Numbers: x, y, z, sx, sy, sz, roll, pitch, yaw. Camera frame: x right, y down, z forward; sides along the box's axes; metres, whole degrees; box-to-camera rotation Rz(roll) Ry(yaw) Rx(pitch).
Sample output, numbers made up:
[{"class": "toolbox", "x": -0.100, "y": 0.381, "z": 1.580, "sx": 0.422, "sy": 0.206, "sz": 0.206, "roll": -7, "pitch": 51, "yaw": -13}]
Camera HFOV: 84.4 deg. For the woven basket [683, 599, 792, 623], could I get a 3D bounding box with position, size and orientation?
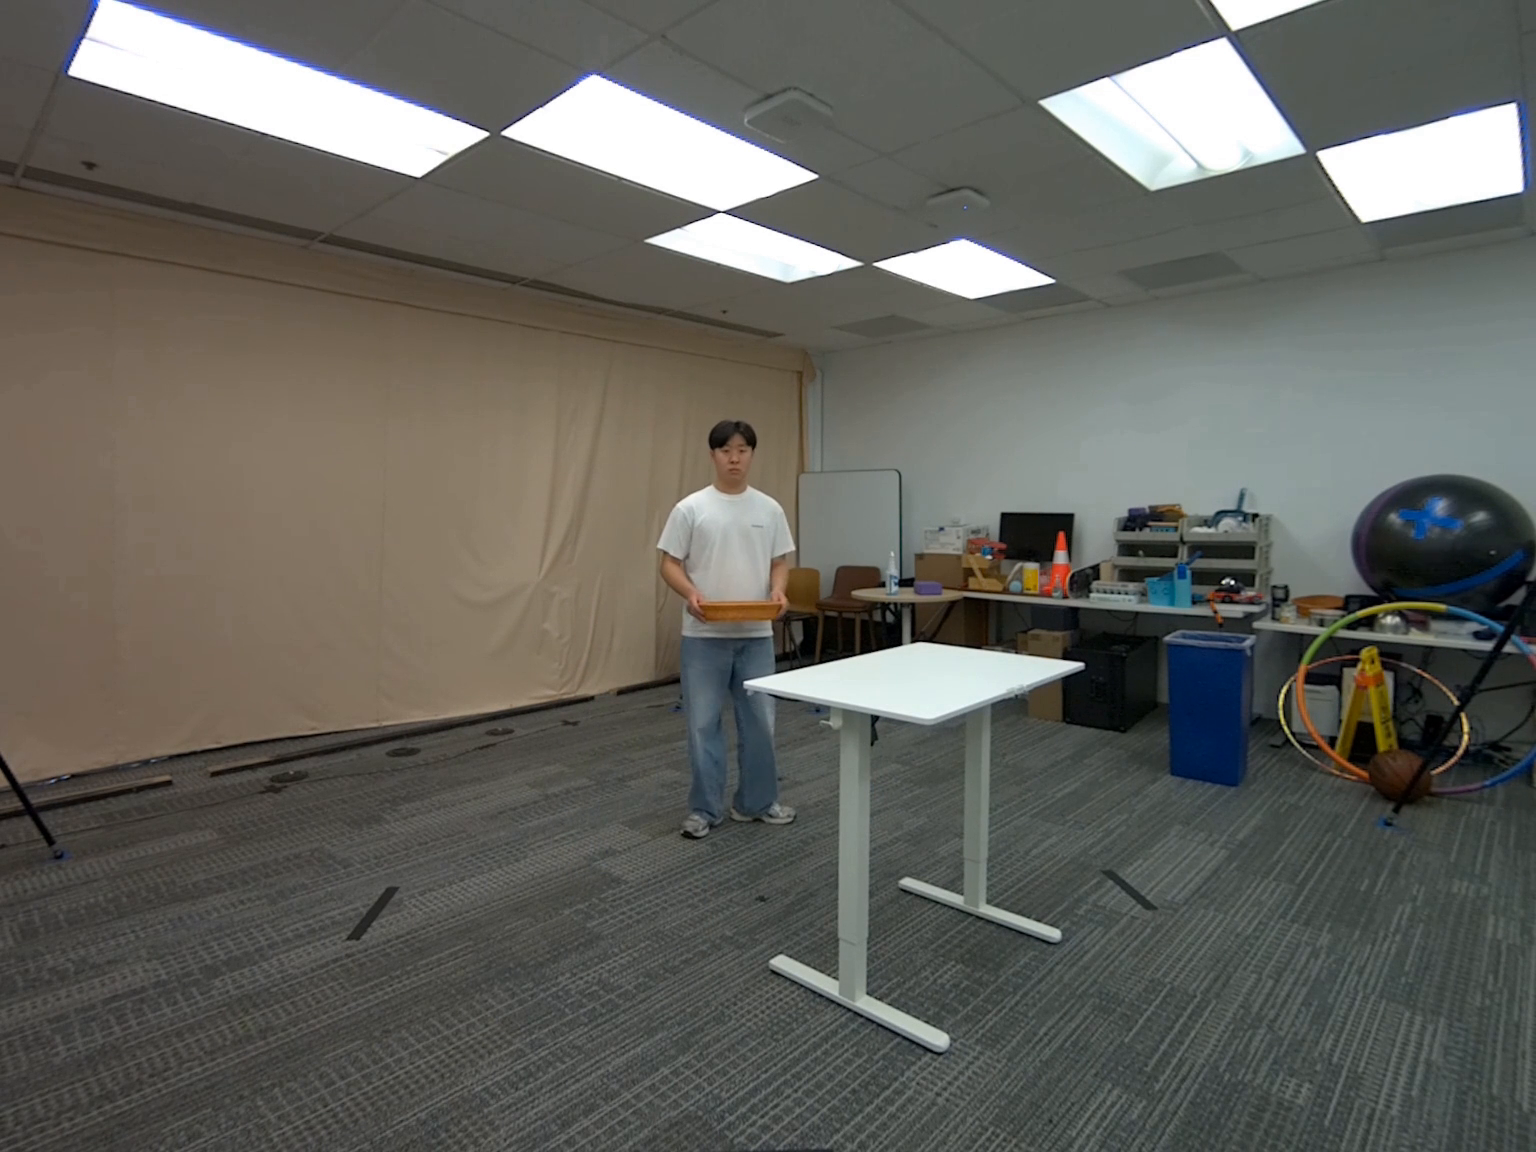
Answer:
[{"class": "woven basket", "x": -0.123, "y": 0.133, "z": 3.363, "sx": 0.339, "sy": 0.073, "sz": 0.261, "roll": -3, "pitch": 4, "yaw": -42}]
